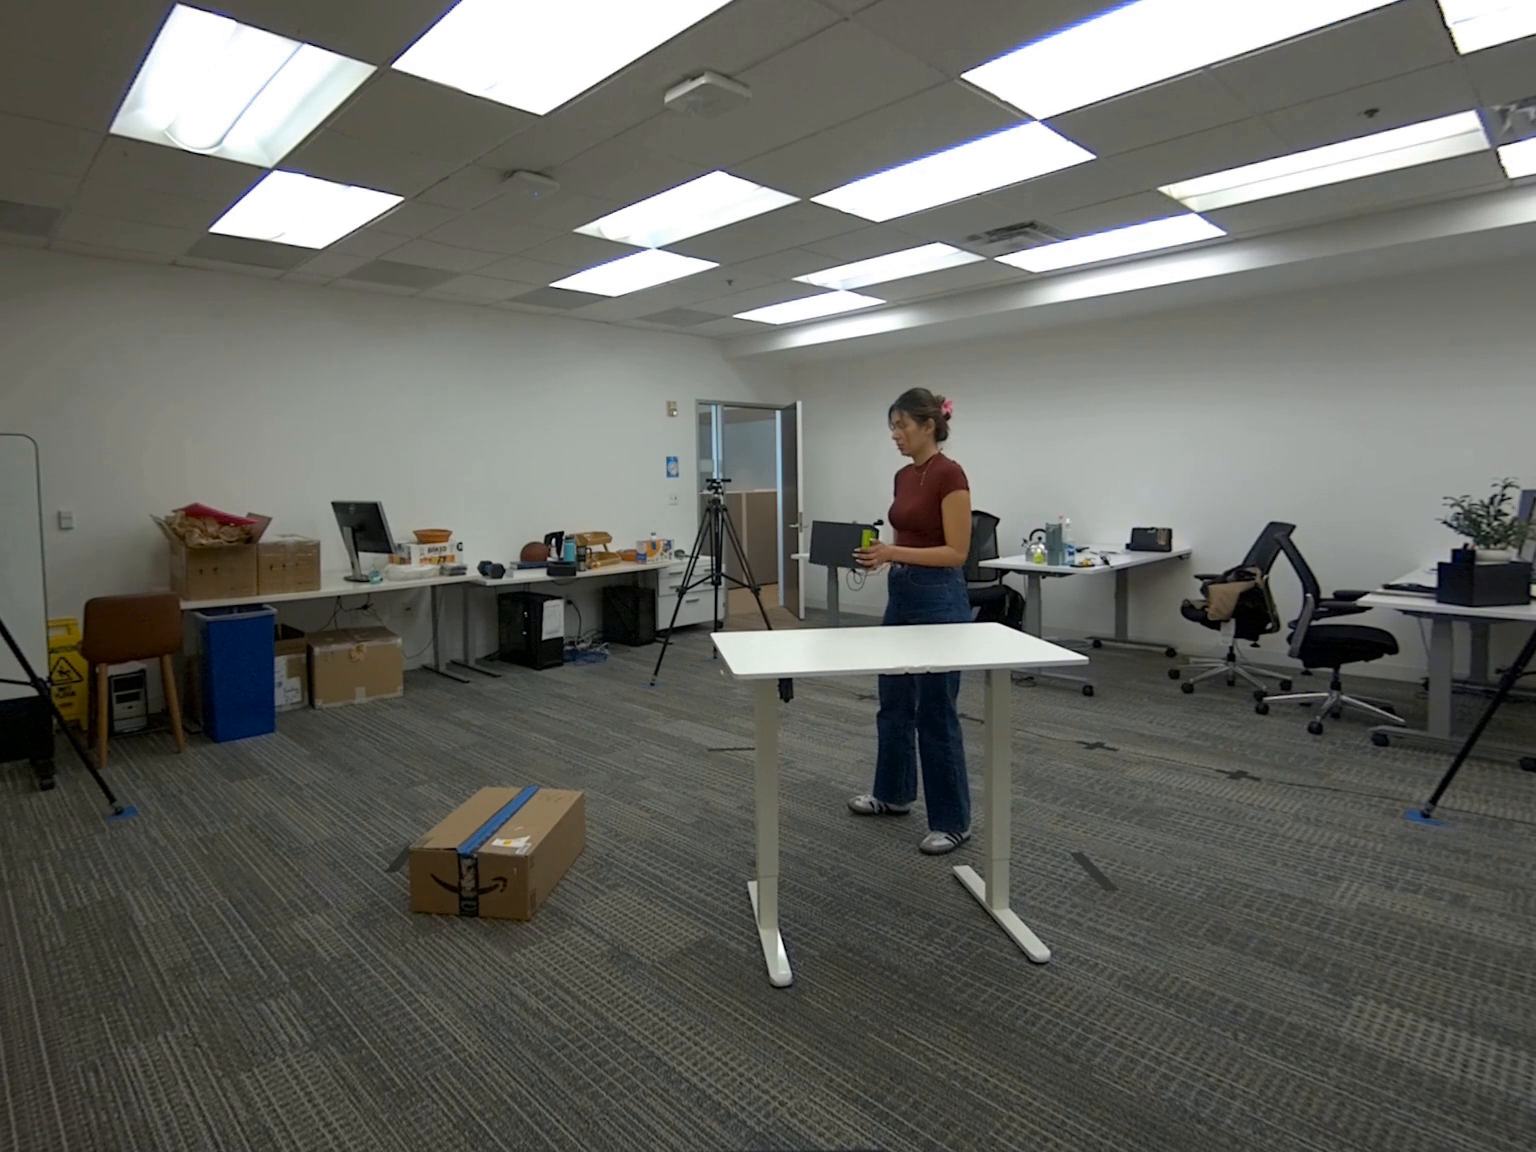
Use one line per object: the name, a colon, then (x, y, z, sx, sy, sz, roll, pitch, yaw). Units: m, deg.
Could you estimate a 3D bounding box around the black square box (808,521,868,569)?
black square box: (0.283, -0.118, 3.146, 0.221, 0.156, 0.224, 4, 1, 17)
